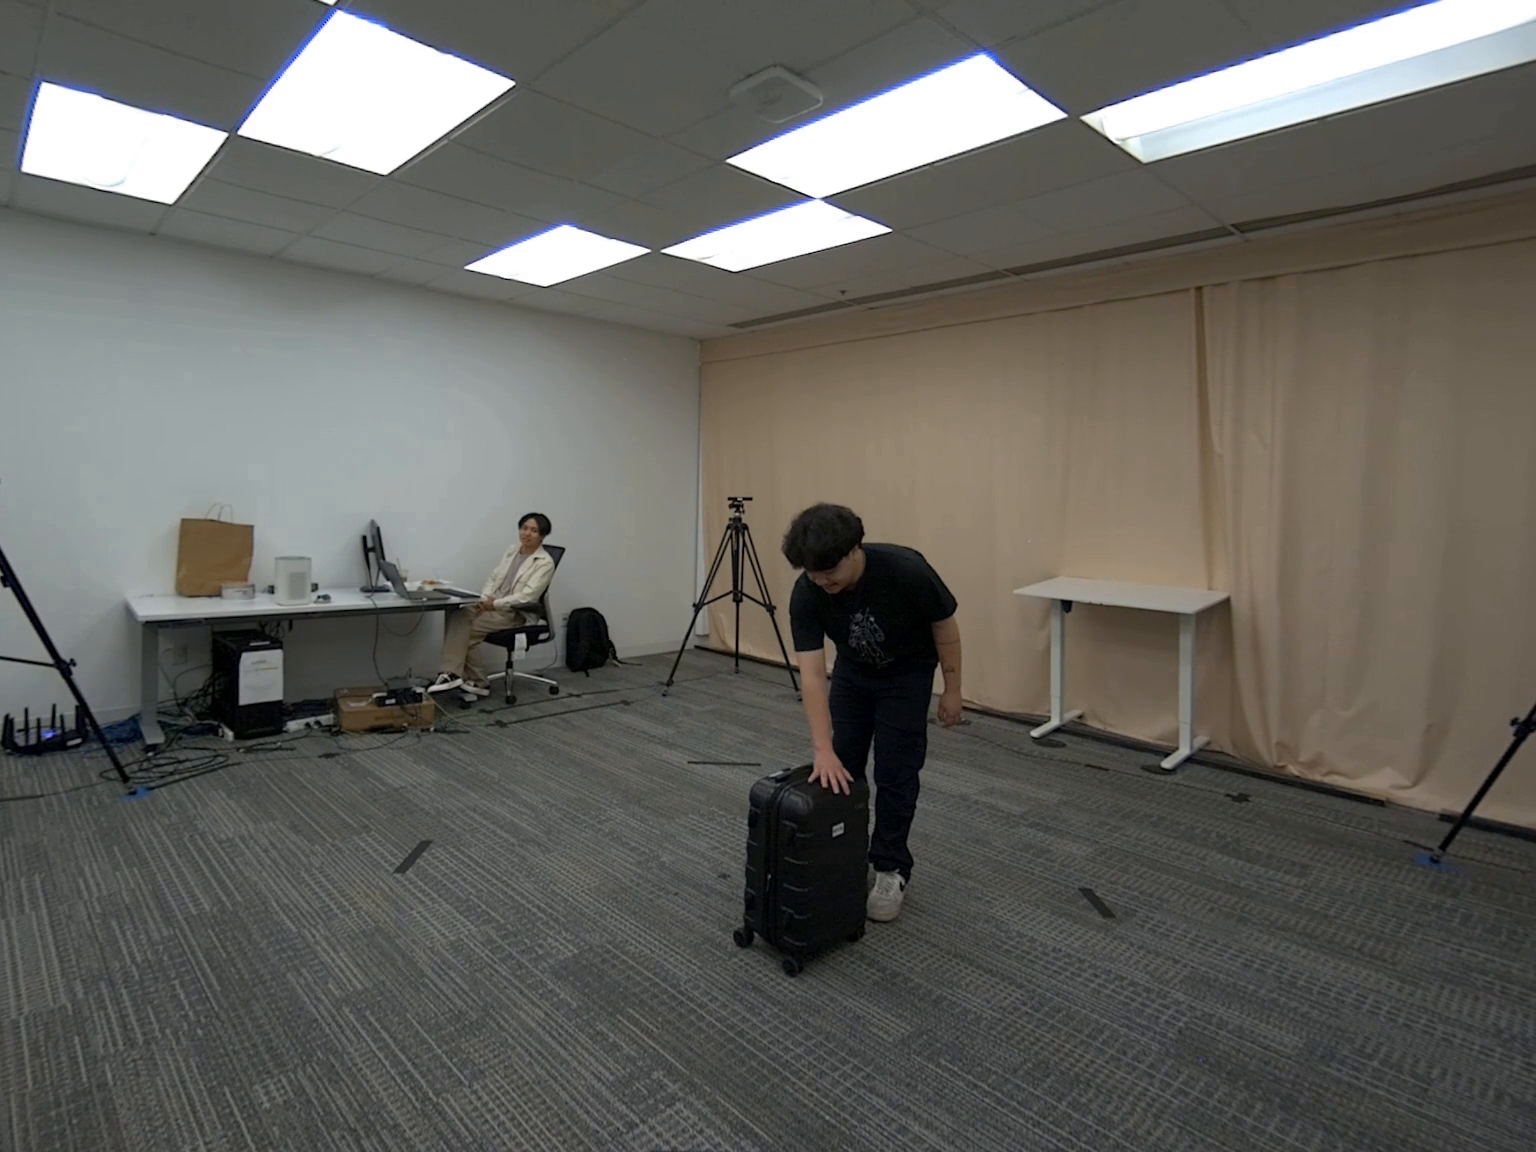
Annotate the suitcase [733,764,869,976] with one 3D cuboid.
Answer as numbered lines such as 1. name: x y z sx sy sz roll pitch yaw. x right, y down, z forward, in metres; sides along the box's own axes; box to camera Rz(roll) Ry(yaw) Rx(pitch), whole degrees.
1. suitcase: 0.115 0.881 2.626 0.255 0.548 0.367 8 6 44
